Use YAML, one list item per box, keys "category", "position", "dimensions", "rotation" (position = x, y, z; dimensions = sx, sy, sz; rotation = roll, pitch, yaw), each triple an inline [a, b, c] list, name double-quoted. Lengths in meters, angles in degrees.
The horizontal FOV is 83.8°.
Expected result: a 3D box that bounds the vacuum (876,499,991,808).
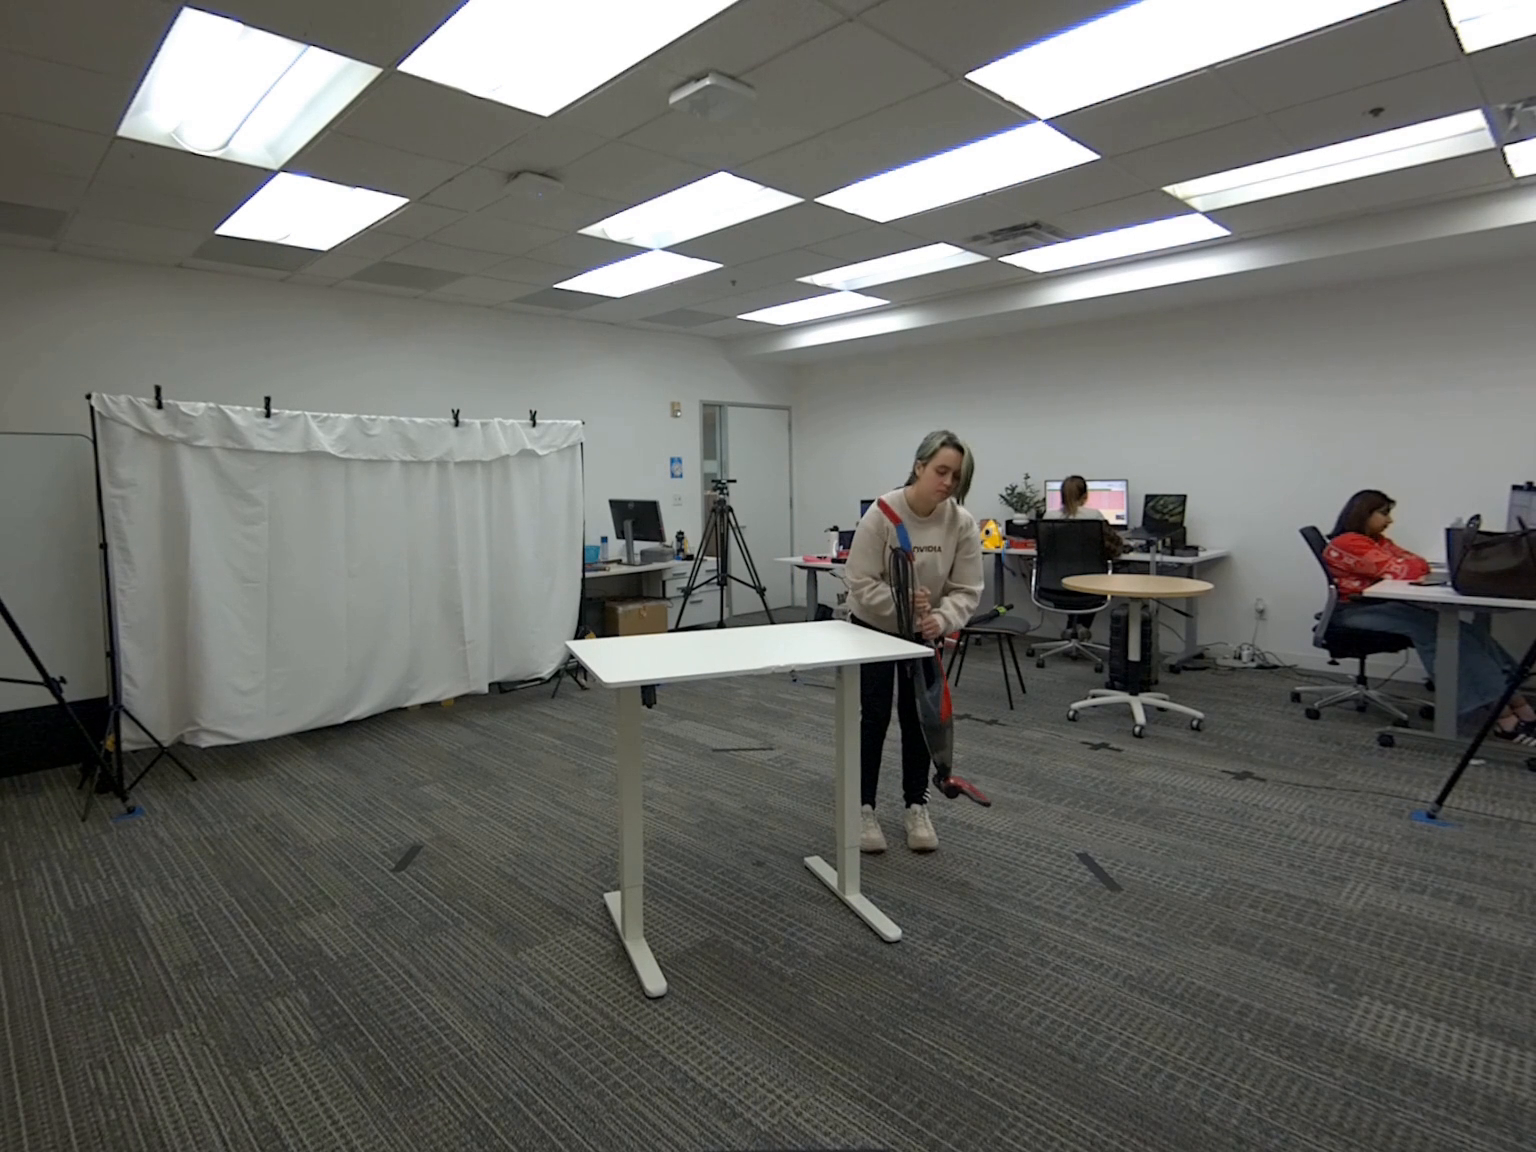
- category: "vacuum"
  position: [0.532, 0.256, 2.943]
  dimensions: [0.143, 1.045, 0.255]
  rotation: [-15, 4, -11]
